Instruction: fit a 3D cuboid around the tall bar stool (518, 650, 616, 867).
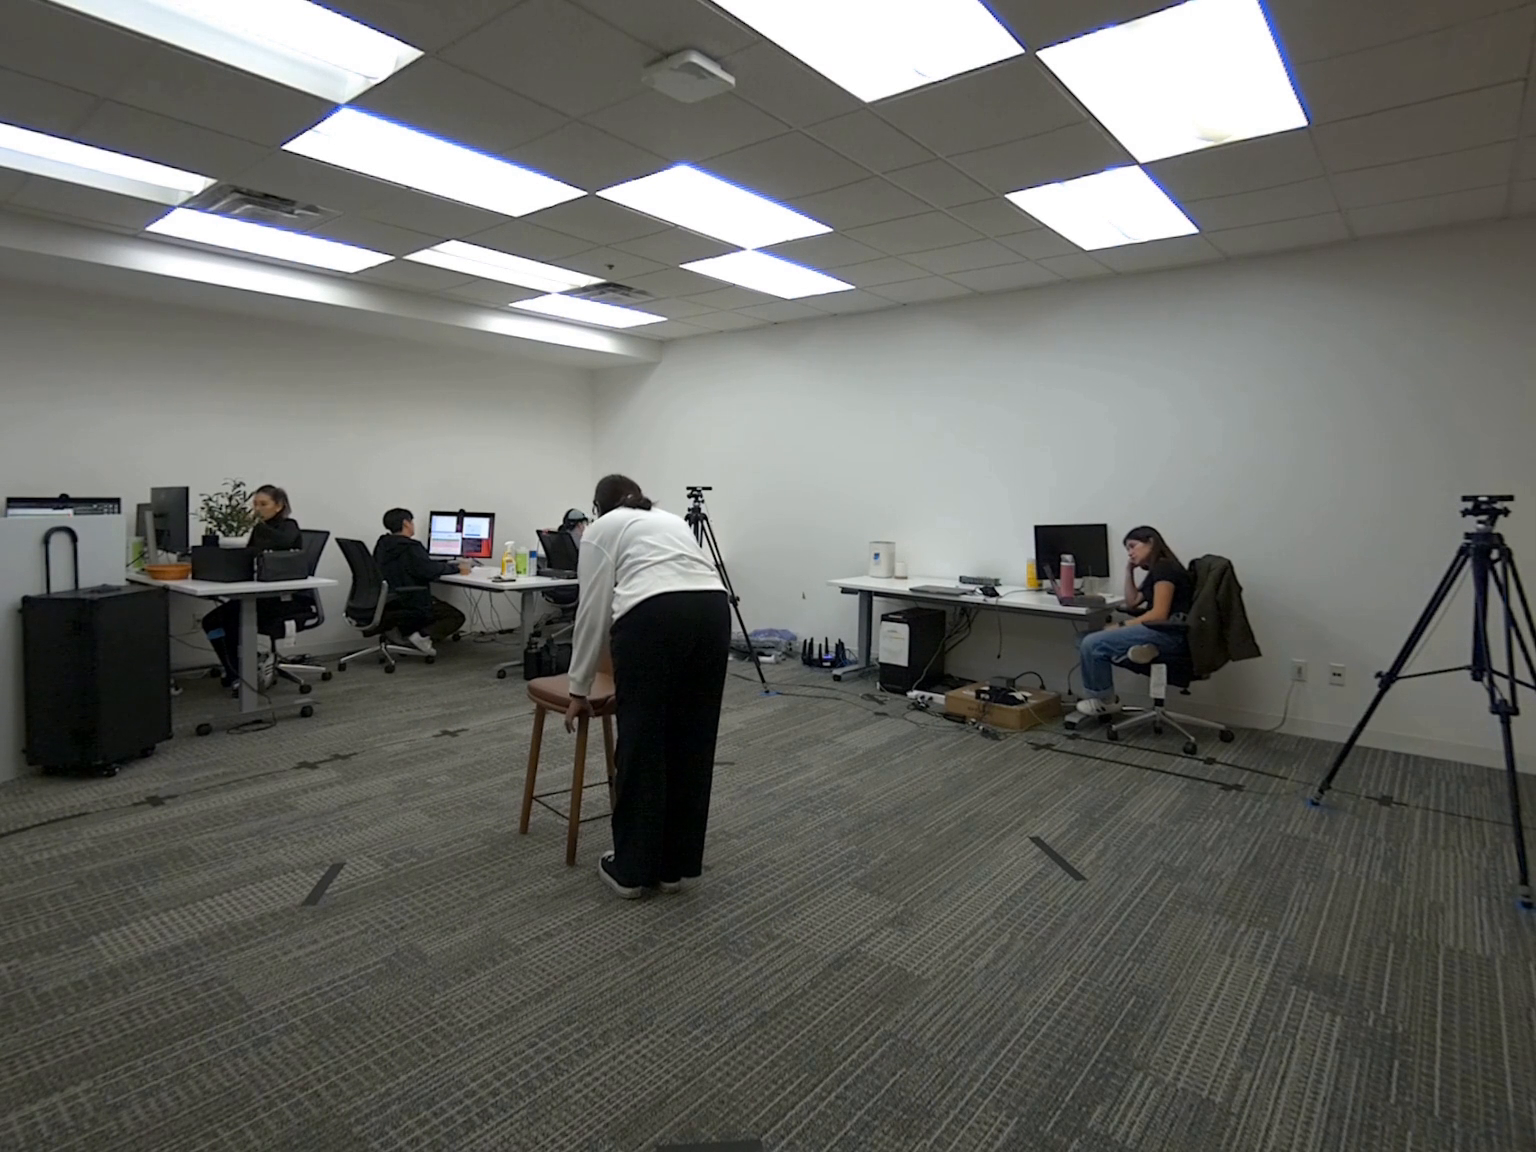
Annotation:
[{"bbox_3d":[-0.691,0.597,3.374,0.453,0.889,0.472,1,2,-41],"label":"tall bar stool"}]
